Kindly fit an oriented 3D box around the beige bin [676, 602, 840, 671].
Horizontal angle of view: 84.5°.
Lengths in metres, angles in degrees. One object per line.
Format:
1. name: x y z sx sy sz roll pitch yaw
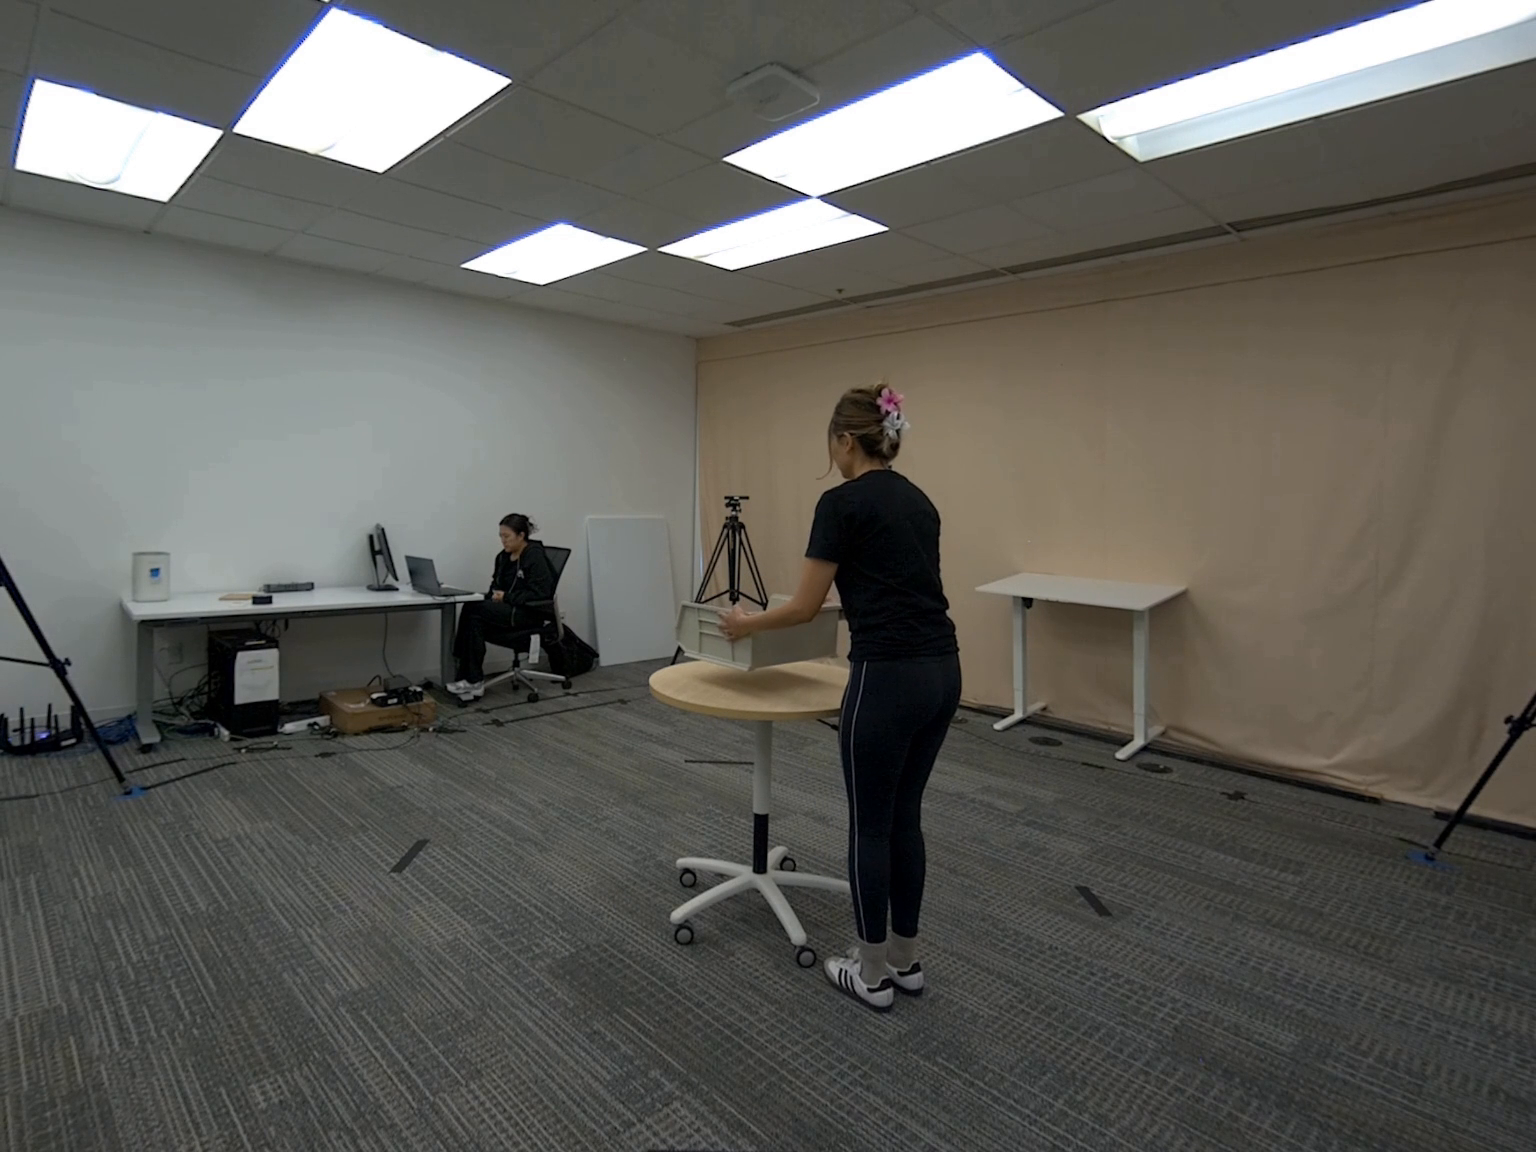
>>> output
1. beige bin: -0.042 0.179 2.786 0.412 0.188 0.387 -2 7 -43
